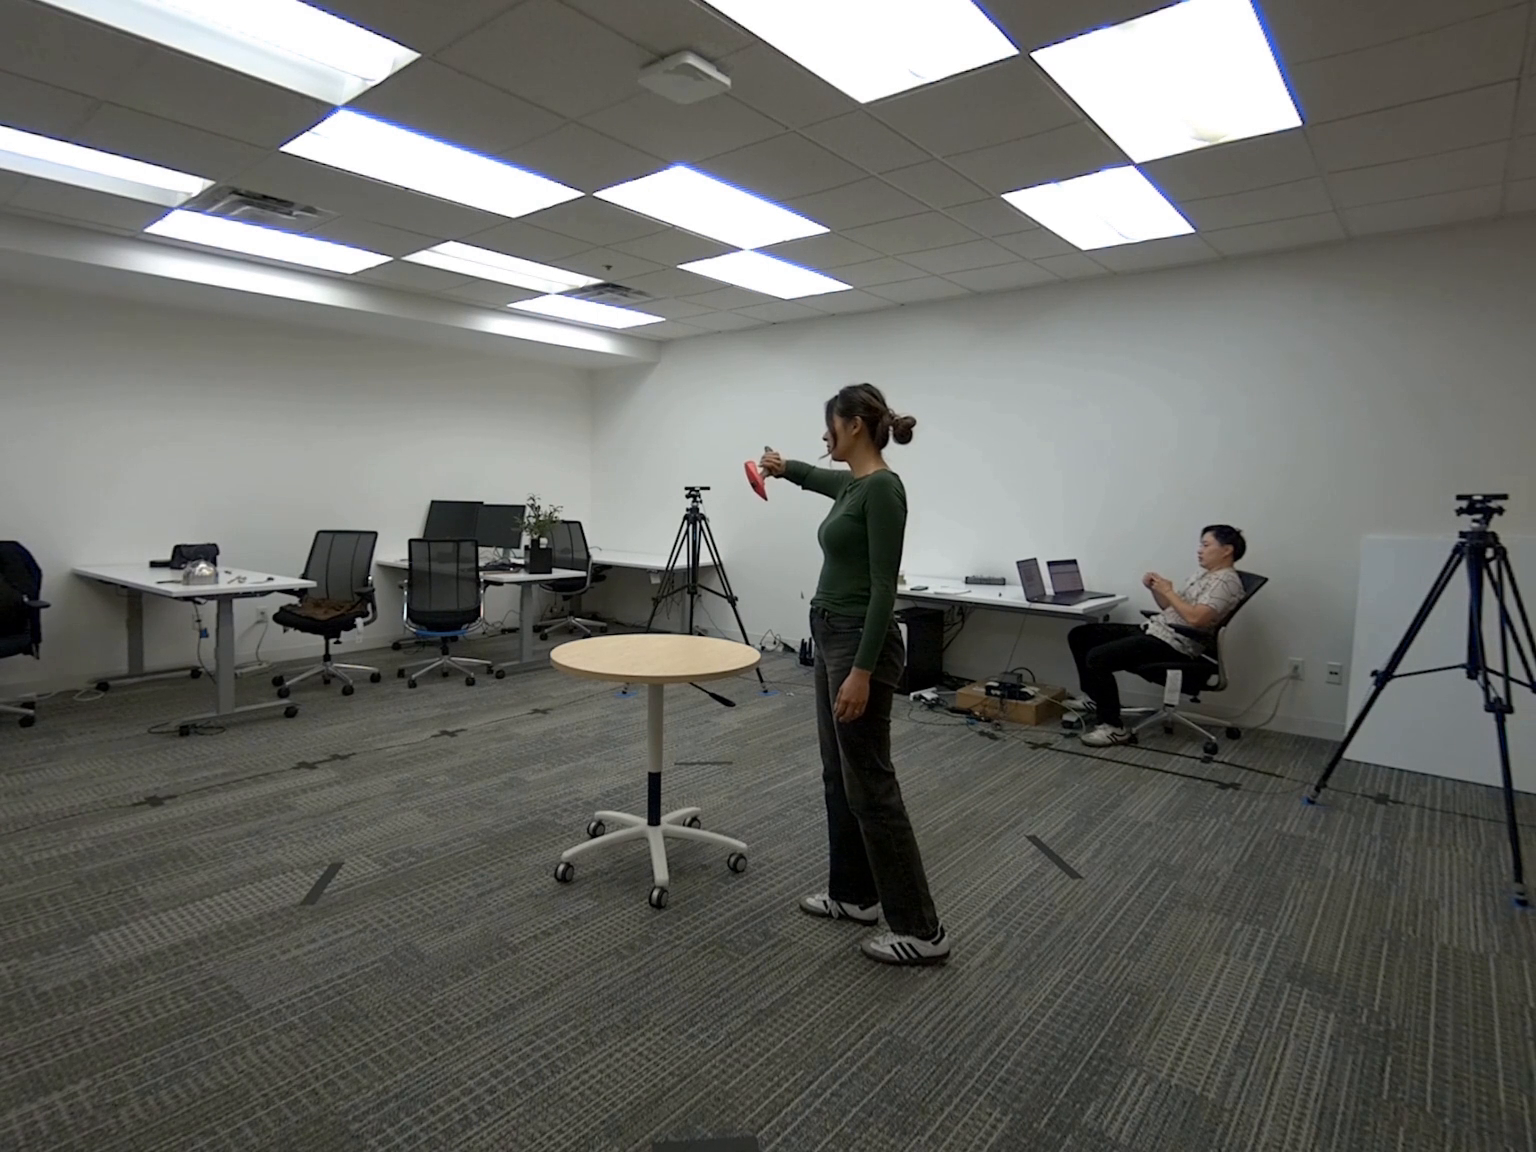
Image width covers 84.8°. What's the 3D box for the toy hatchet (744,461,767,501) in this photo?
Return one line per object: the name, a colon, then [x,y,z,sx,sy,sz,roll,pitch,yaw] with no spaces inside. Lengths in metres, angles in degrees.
toy hatchet: [-0.037,-0.355,2.665,0.030,0.126,0.276,-26,33,23]
